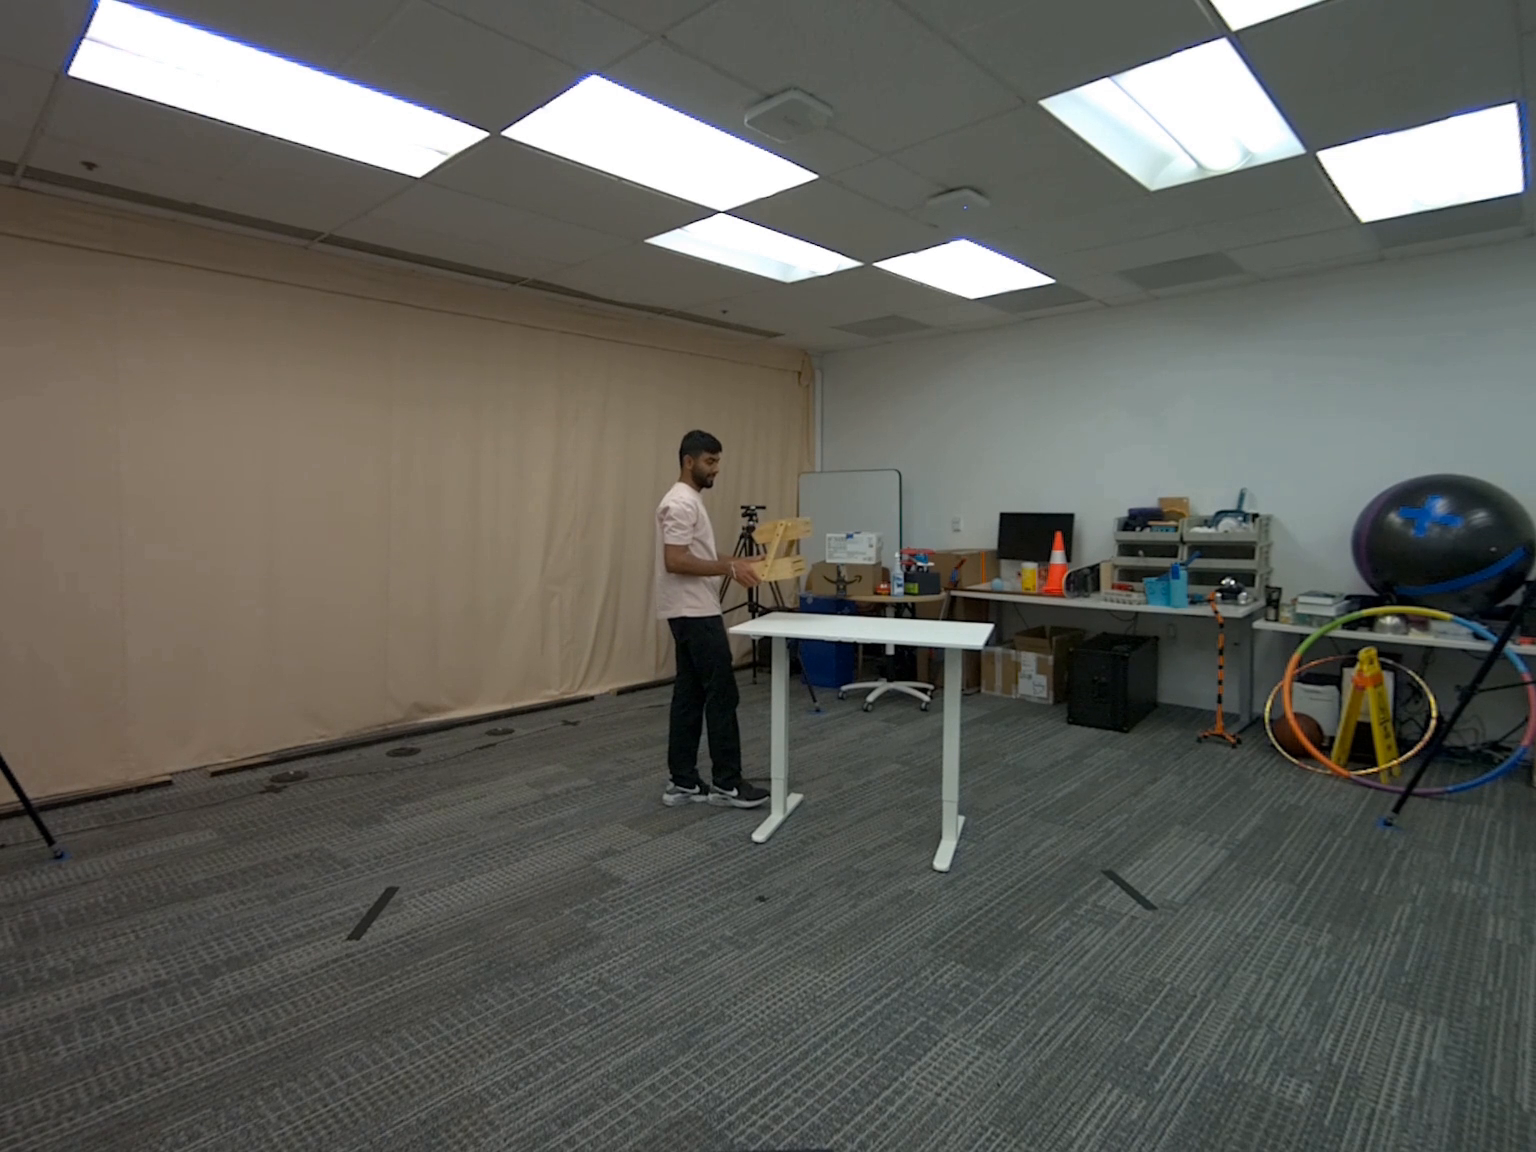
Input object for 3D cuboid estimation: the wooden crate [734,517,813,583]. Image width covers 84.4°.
[{"bbox_3d":[0.027,-0.125,3.856,0.307,0.273,0.319,-4,3,17],"label":"wooden crate"}]
